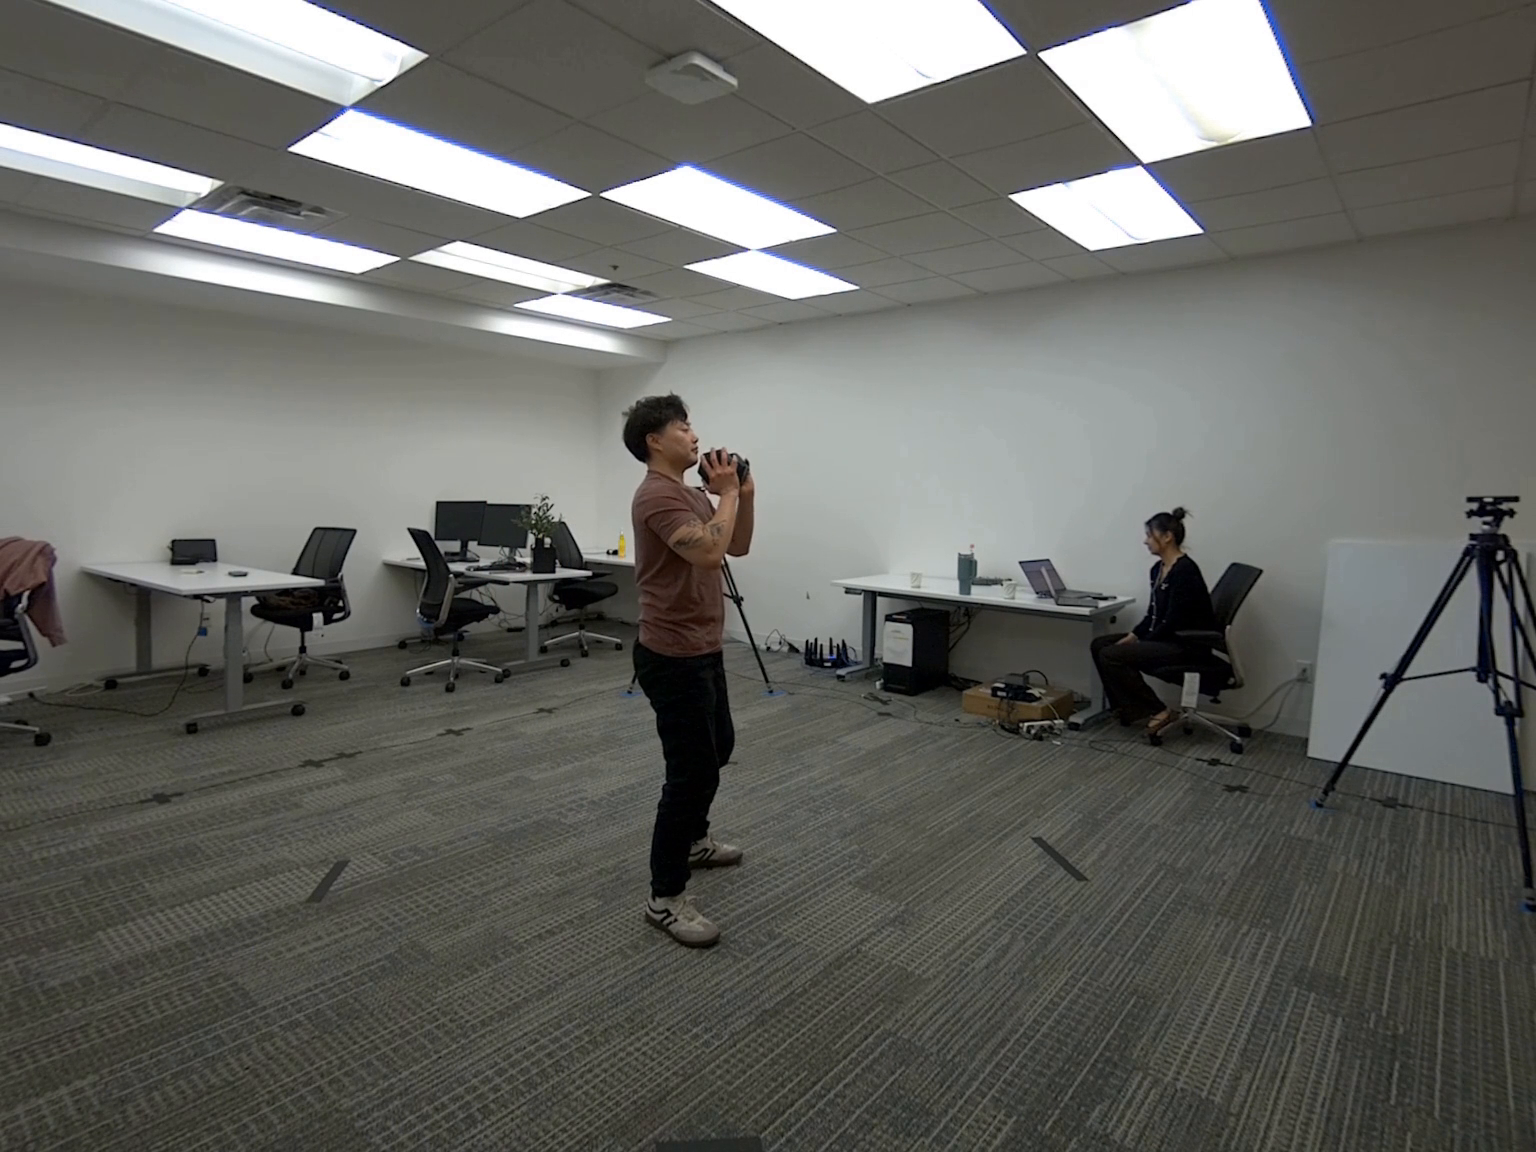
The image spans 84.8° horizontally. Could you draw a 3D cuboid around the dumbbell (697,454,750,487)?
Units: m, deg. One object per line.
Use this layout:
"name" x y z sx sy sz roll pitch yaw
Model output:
"dumbbell" -0.156 -0.347 2.808 0.109 0.122 0.292 18 5 4
